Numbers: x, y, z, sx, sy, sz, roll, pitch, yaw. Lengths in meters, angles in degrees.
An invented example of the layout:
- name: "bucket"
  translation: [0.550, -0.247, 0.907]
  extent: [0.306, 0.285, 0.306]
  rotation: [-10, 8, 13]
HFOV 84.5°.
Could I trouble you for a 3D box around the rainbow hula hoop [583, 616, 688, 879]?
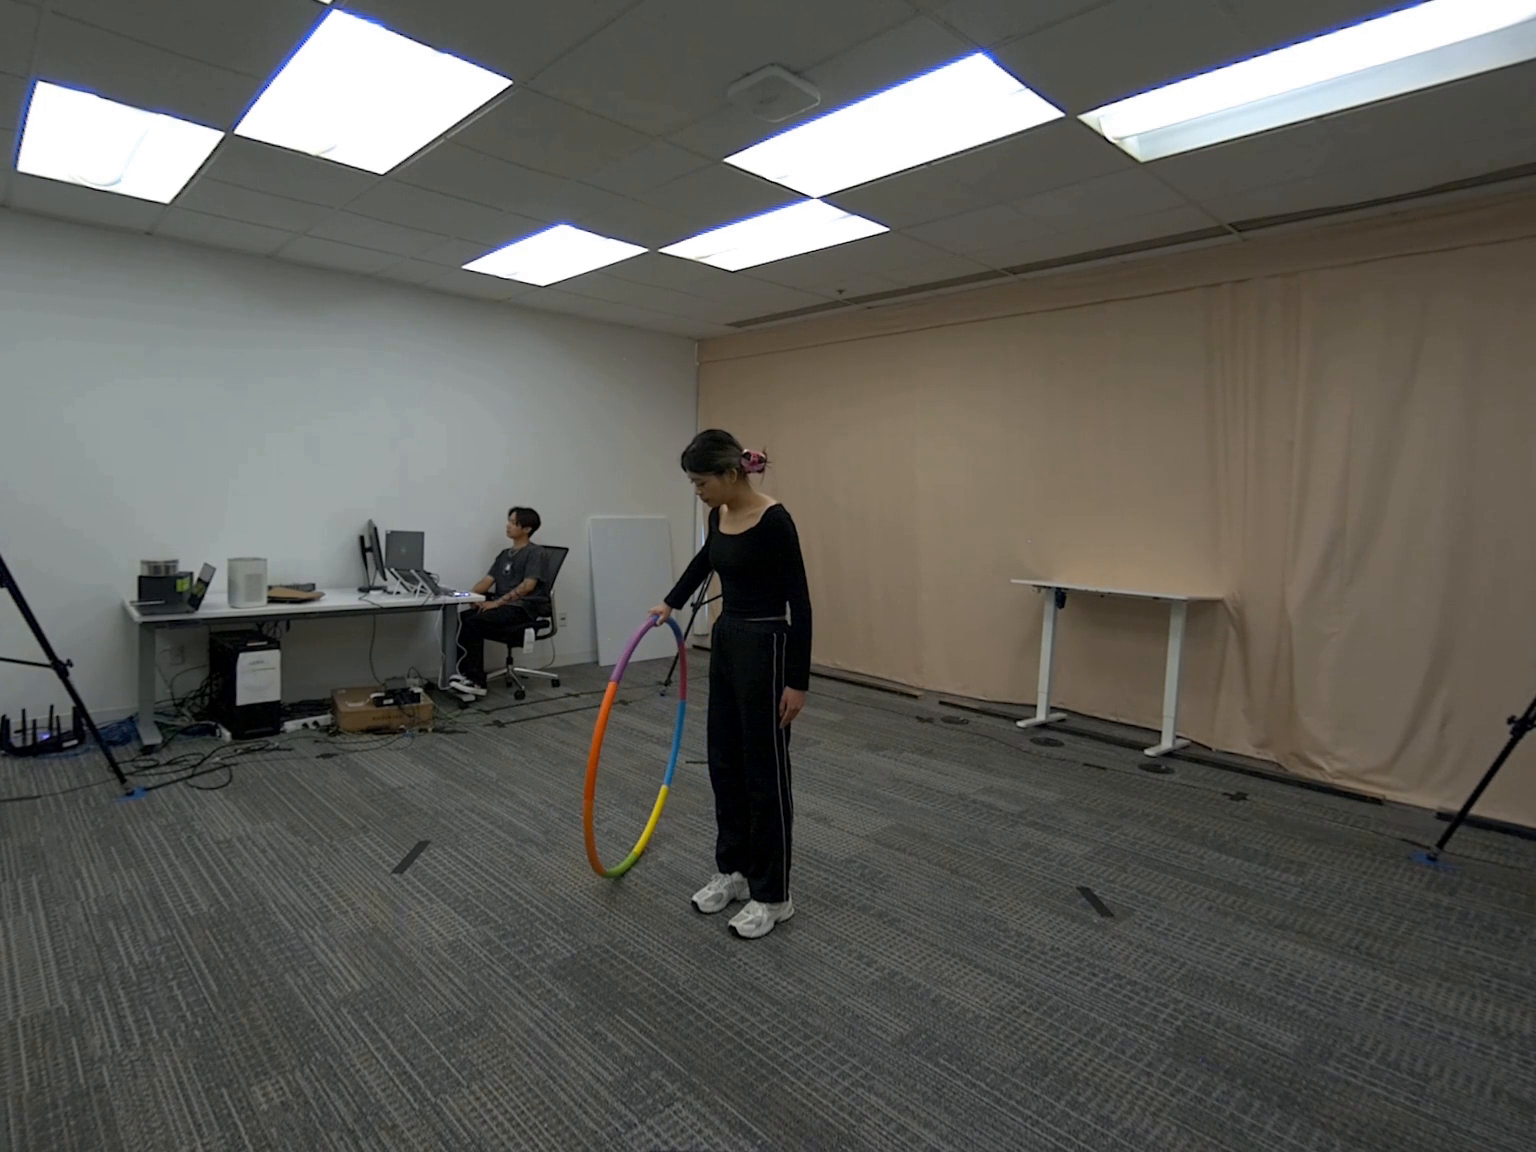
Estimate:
- name: "rainbow hula hoop"
  translation: [-0.467, 0.615, 3.144]
  extent: [0.036, 0.975, 0.972]
  rotation: [8, 5, 10]
